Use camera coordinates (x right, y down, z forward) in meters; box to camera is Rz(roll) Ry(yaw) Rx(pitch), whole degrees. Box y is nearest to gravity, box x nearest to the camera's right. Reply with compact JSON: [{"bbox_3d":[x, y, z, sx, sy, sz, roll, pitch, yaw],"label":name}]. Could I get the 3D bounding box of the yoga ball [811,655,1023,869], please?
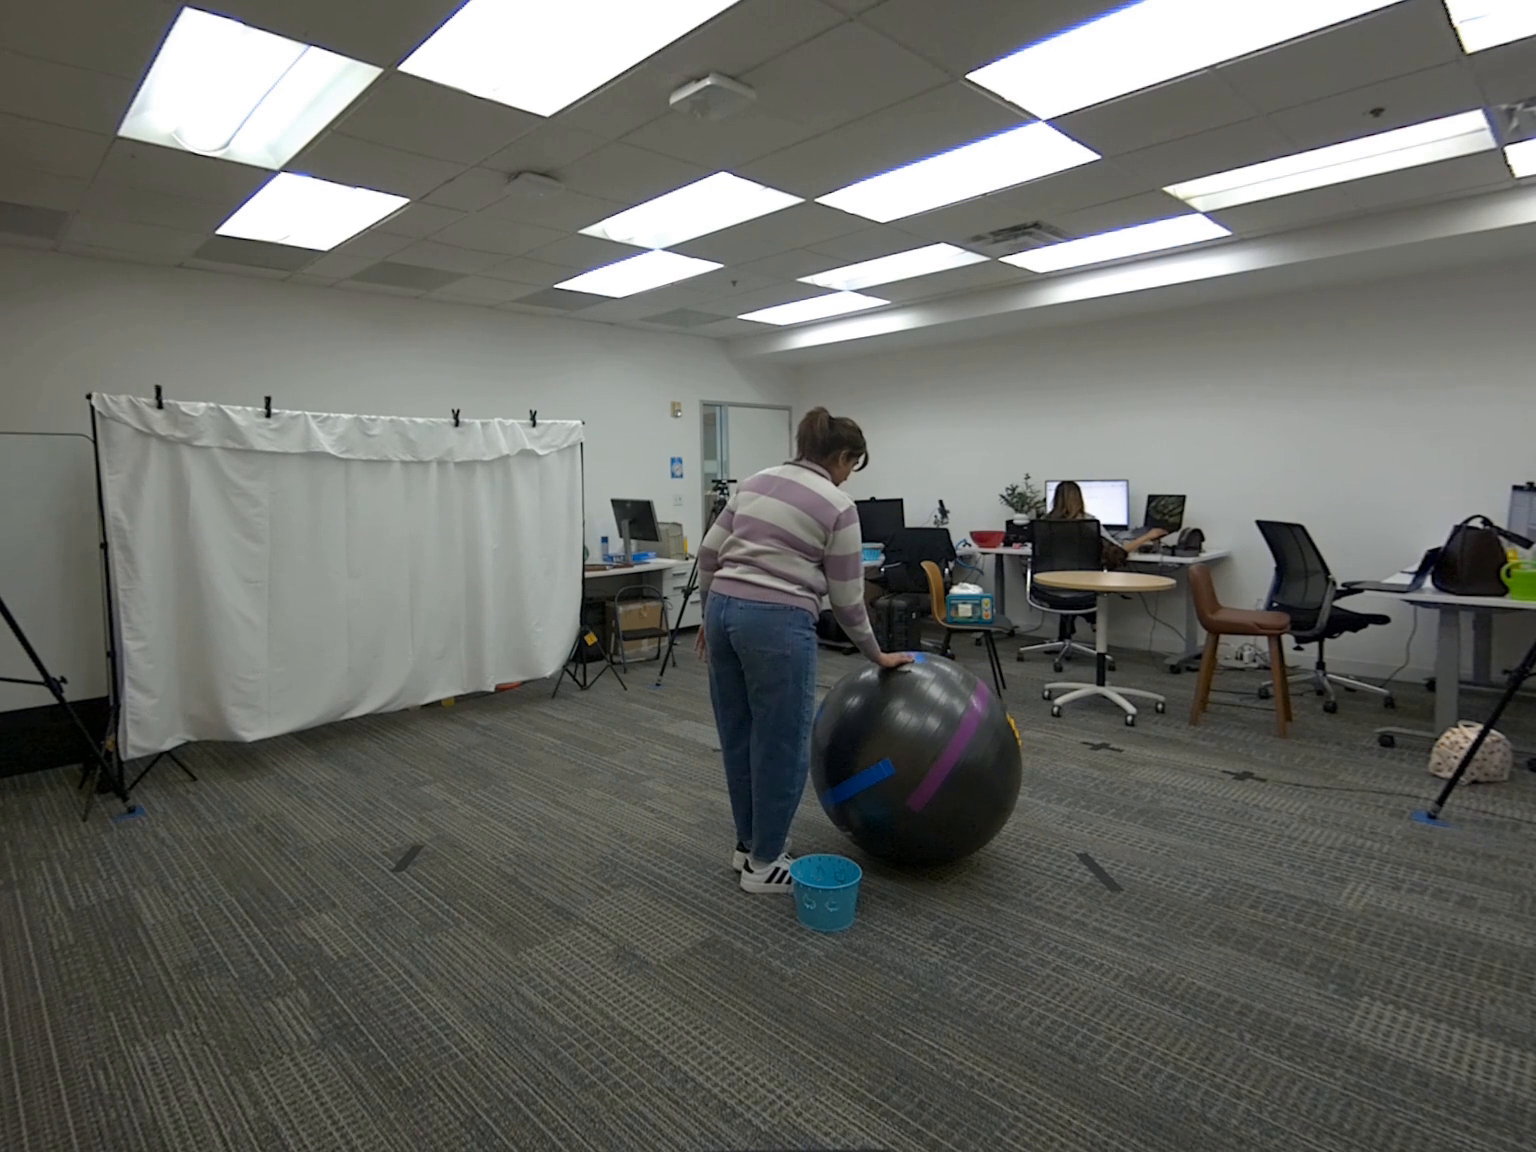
[{"bbox_3d":[0.543,0.669,3.130,0.757,0.755,0.762,-1,5,-2],"label":"yoga ball"}]
